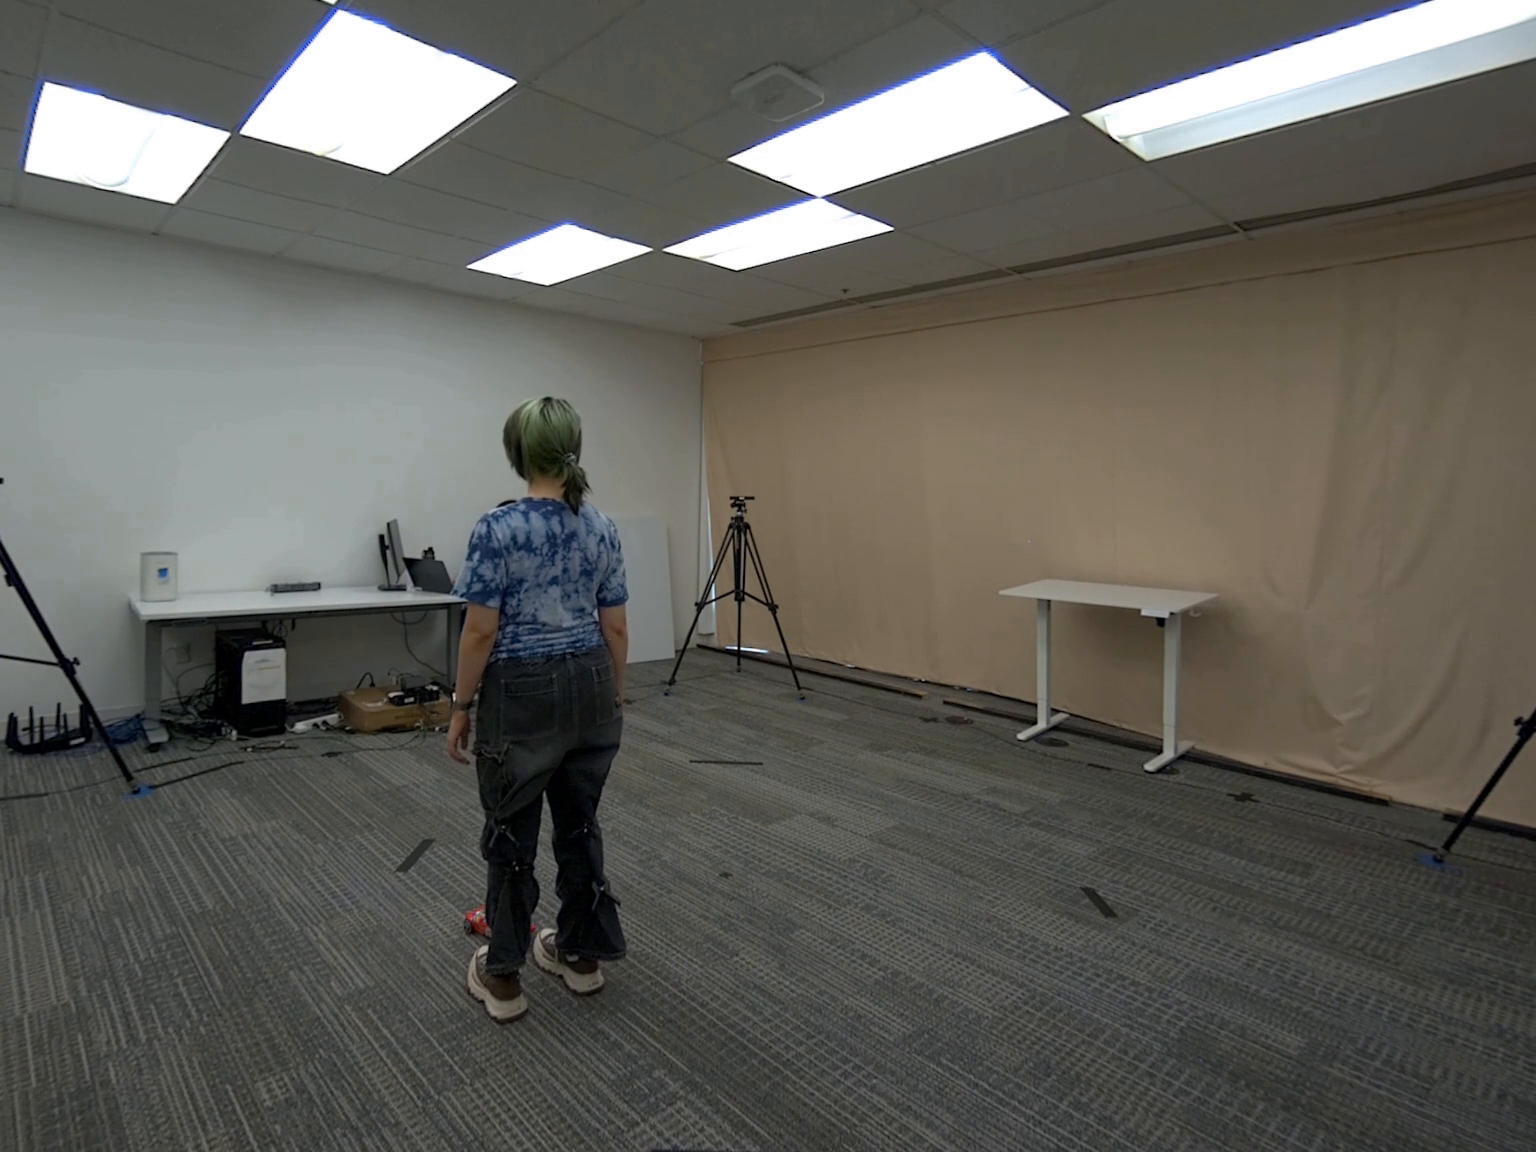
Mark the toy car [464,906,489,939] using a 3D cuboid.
[{"bbox_3d":[-0.844,1.105,2.639,0.259,0.083,0.127,-8,-2,35],"label":"toy car"}]
